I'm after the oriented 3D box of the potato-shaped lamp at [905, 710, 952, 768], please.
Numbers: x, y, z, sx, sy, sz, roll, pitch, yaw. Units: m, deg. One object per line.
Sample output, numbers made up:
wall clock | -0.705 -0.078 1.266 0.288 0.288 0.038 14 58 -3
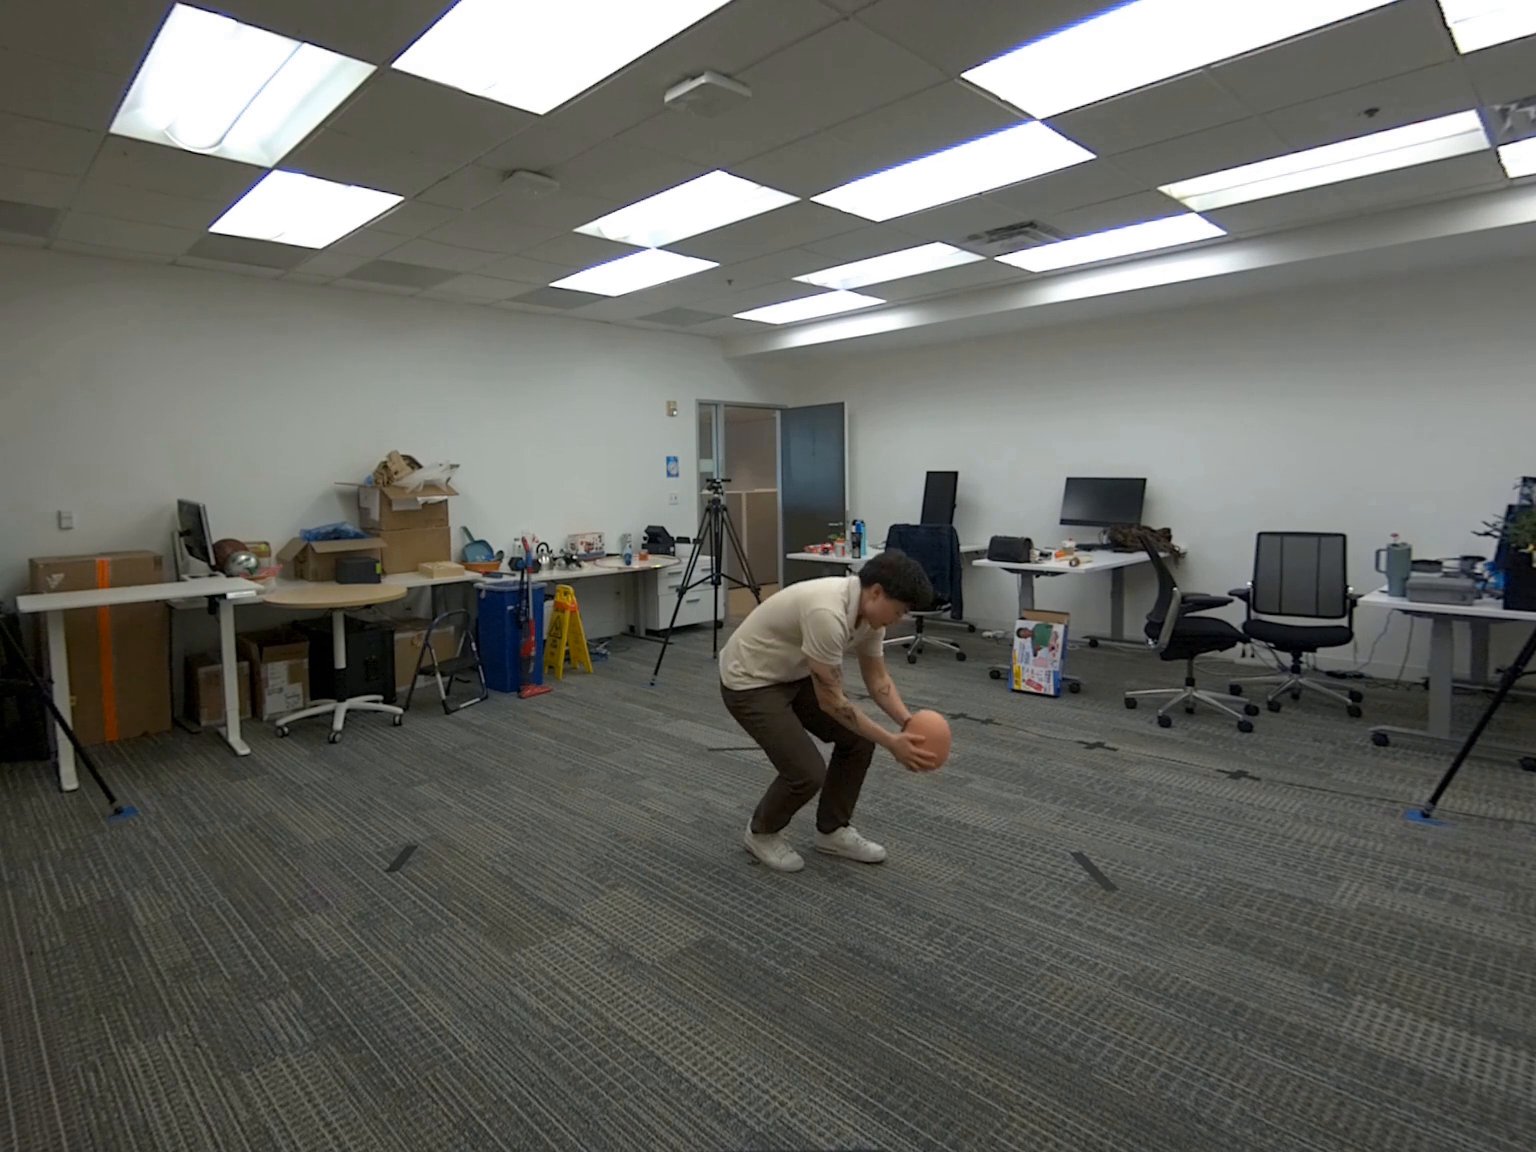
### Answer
potato-shaped lamp | 0.526 0.547 2.930 0.176 0.199 0.159 6 -10 26
